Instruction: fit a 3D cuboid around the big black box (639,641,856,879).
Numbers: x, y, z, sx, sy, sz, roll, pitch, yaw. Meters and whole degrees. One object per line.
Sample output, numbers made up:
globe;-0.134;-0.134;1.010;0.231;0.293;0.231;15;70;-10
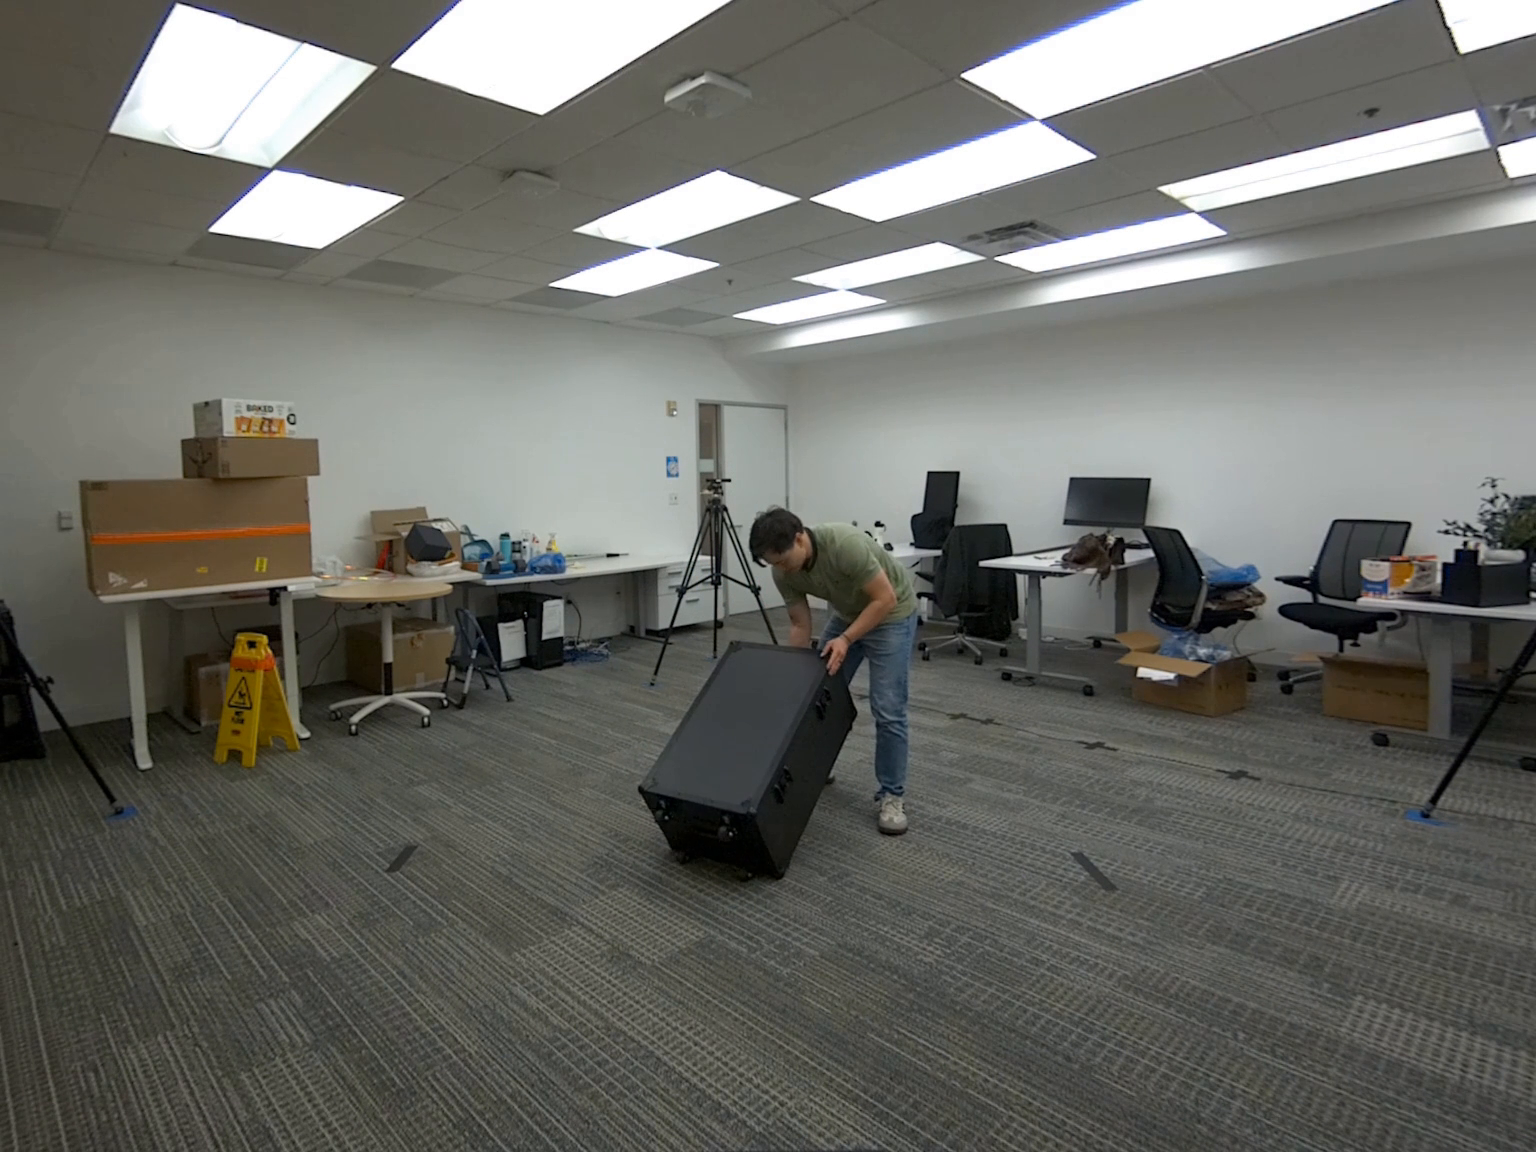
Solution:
big black box;-0.066;0.694;3.257;0.535;0.384;0.866;2;39;31
